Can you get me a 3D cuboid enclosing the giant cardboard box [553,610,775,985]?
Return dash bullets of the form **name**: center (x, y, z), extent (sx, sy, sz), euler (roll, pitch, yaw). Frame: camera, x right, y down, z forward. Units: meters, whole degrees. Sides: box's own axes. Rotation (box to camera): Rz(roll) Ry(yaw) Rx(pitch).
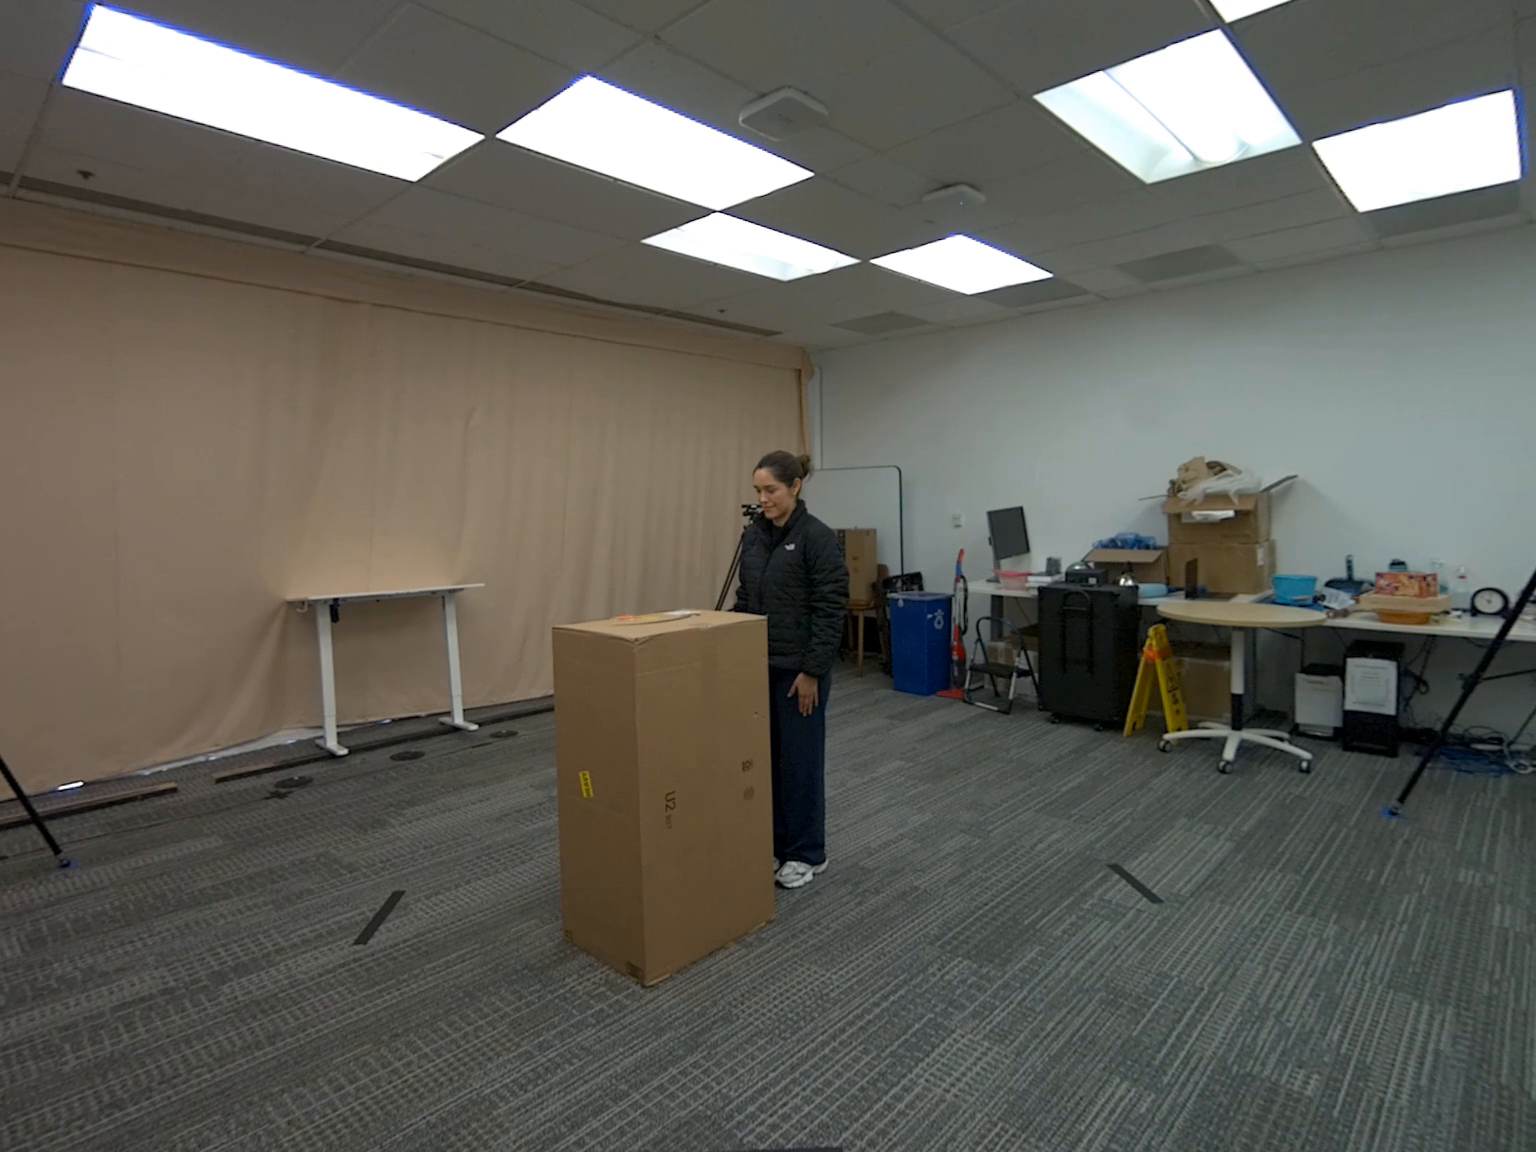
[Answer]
- **giant cardboard box**: center (-0.323, 0.655, 2.758), extent (0.461, 1.025, 0.566), euler (1, 3, 44)
